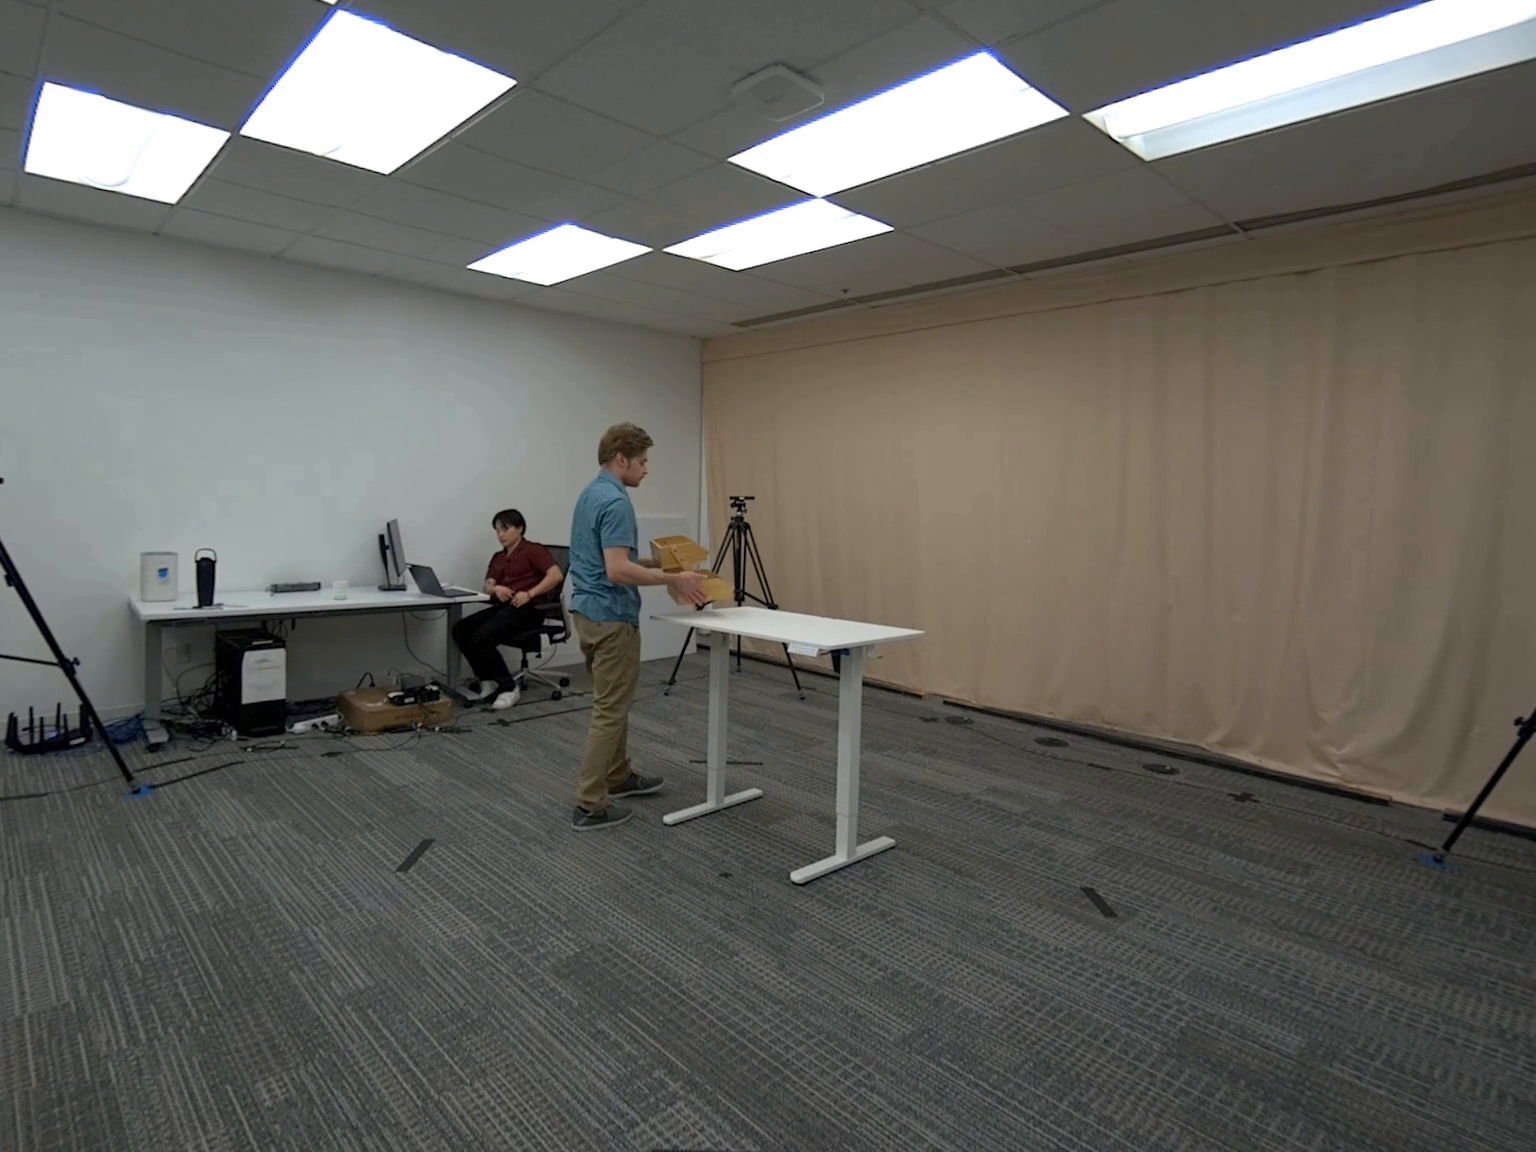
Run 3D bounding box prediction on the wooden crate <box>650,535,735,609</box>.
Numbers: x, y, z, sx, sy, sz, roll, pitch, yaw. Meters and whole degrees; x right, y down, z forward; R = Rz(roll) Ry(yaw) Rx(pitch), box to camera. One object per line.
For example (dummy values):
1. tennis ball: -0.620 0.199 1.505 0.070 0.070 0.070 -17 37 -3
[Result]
1. wooden crate: -0.350 -0.044 3.714 0.299 0.271 0.330 -9 11 -14
